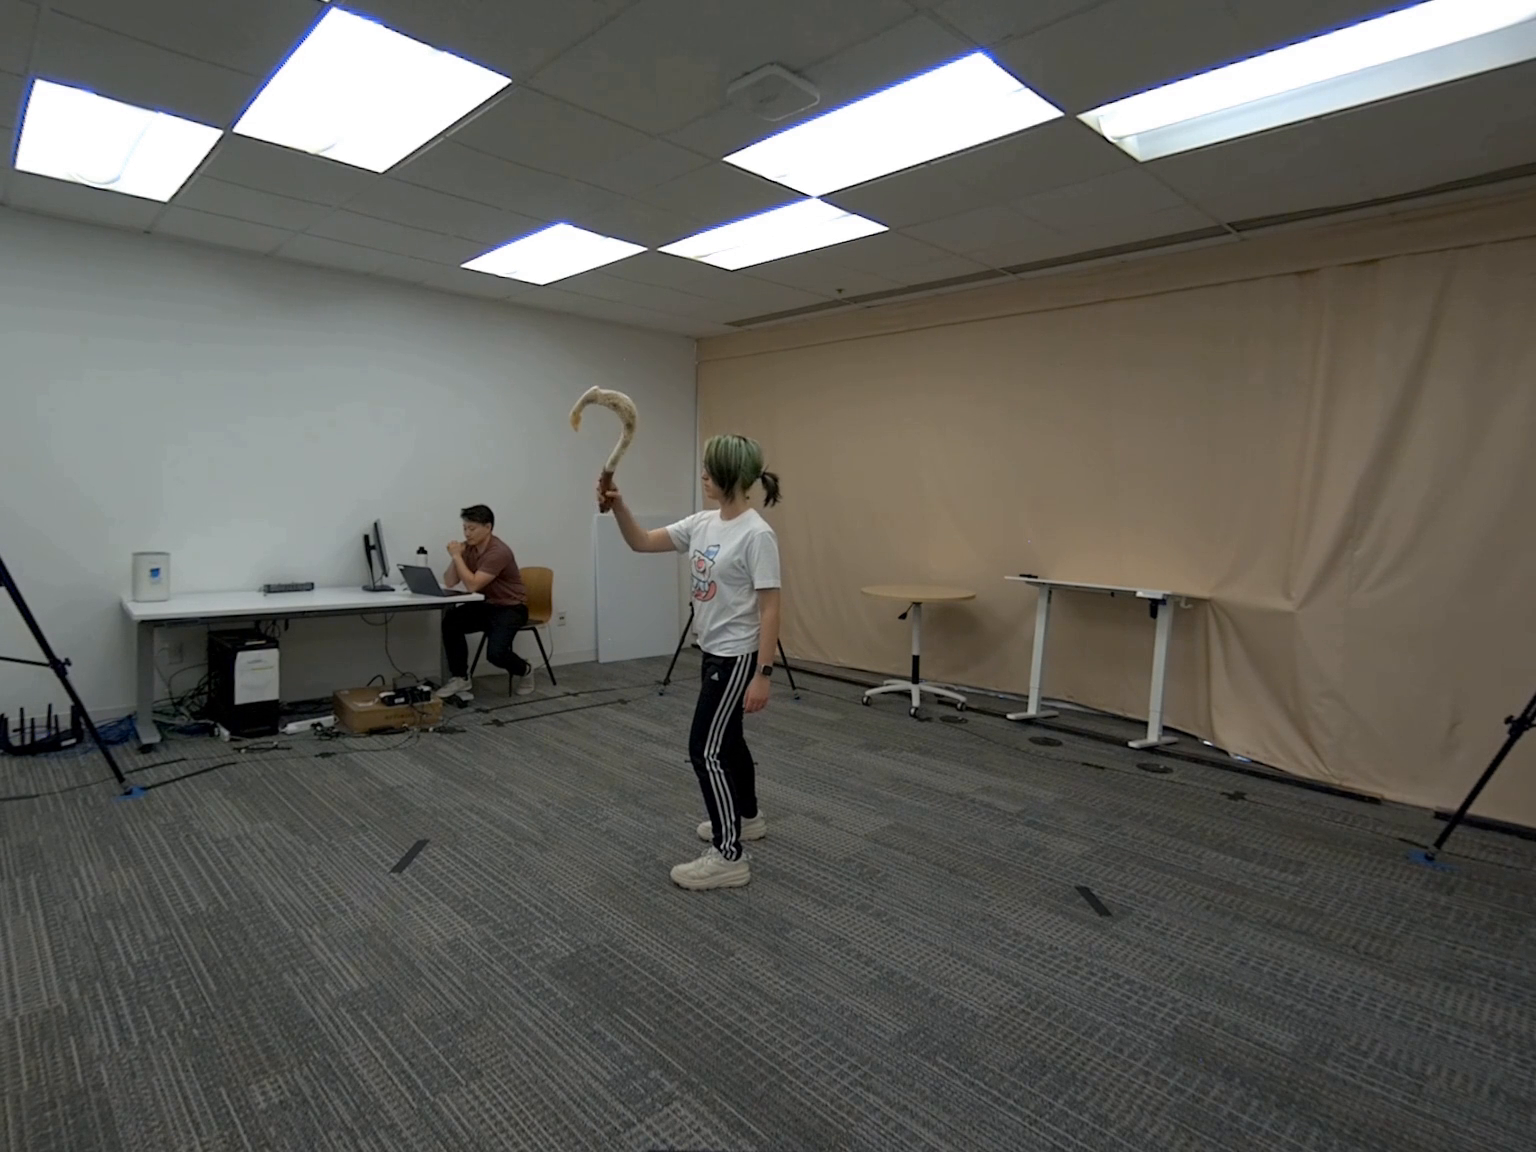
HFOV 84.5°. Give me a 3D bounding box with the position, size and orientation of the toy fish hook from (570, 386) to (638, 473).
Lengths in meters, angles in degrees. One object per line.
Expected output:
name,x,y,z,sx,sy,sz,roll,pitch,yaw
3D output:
toy fish hook,-0.591,-0.397,2.842,0.225,0.499,0.049,19,40,1
